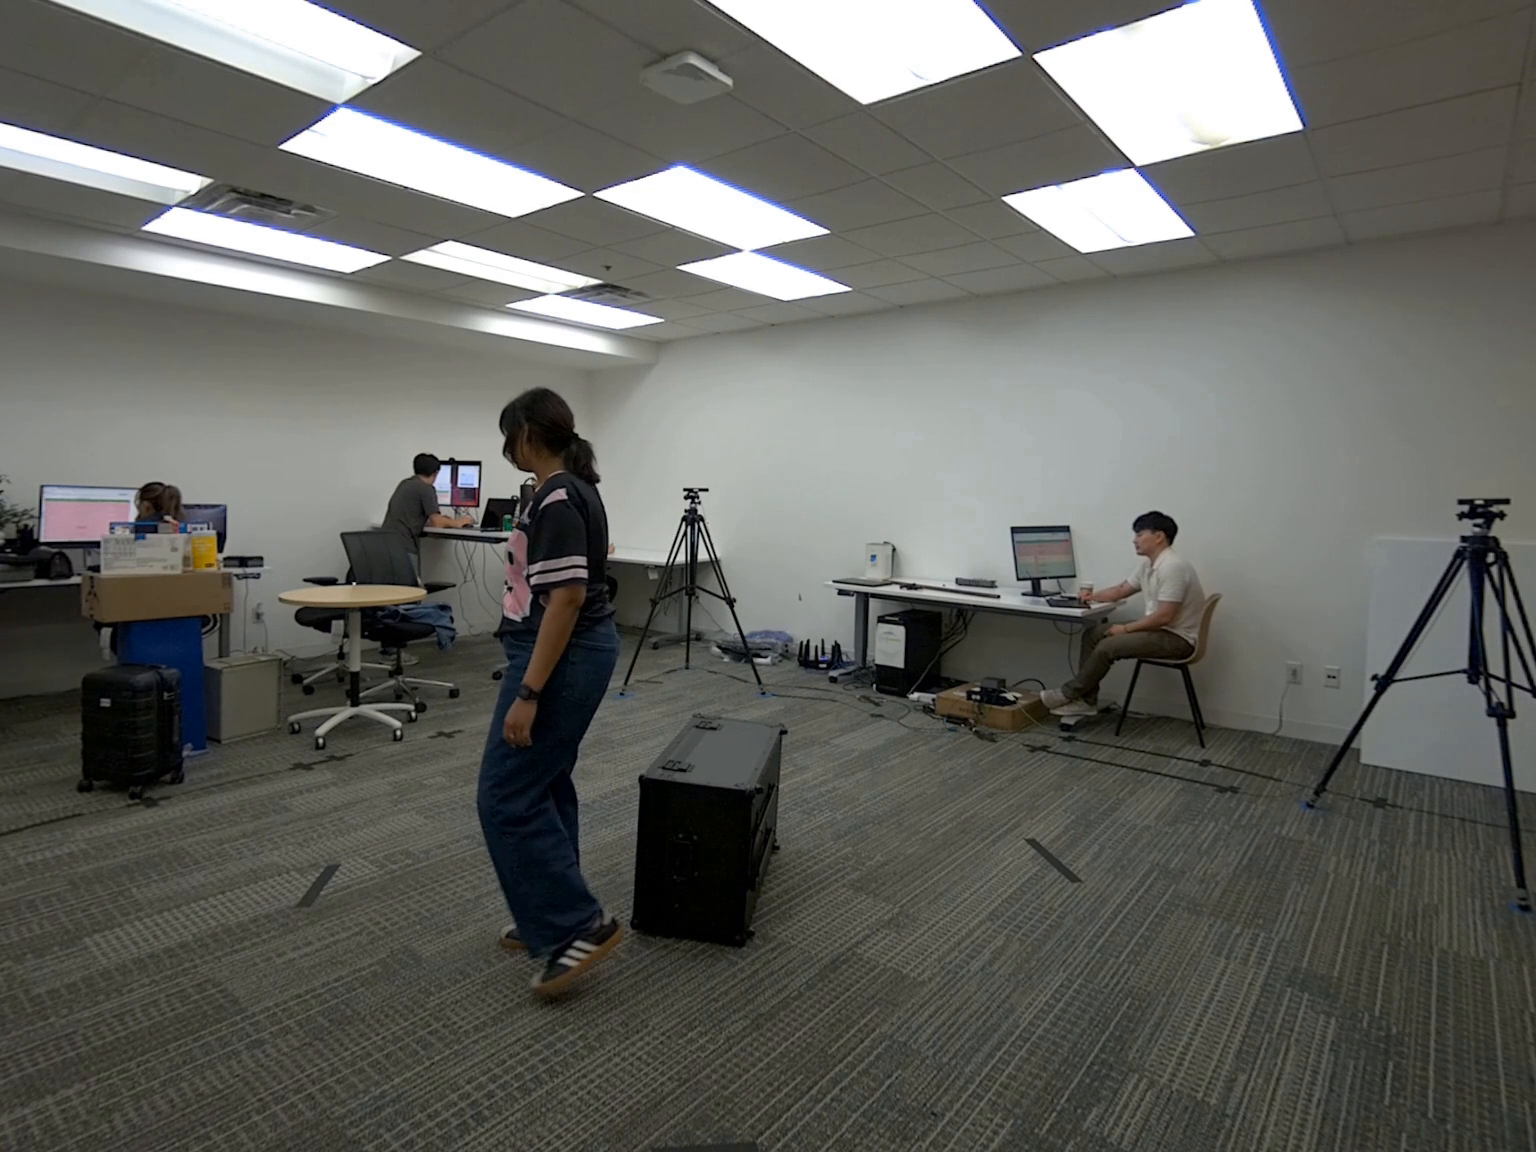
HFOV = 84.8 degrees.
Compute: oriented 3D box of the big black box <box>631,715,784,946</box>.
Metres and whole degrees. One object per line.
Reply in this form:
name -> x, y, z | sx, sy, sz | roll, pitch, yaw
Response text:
big black box -> -0.180, 0.823, 3.006 | 0.389, 0.521, 0.863 | 2, 5, 8
